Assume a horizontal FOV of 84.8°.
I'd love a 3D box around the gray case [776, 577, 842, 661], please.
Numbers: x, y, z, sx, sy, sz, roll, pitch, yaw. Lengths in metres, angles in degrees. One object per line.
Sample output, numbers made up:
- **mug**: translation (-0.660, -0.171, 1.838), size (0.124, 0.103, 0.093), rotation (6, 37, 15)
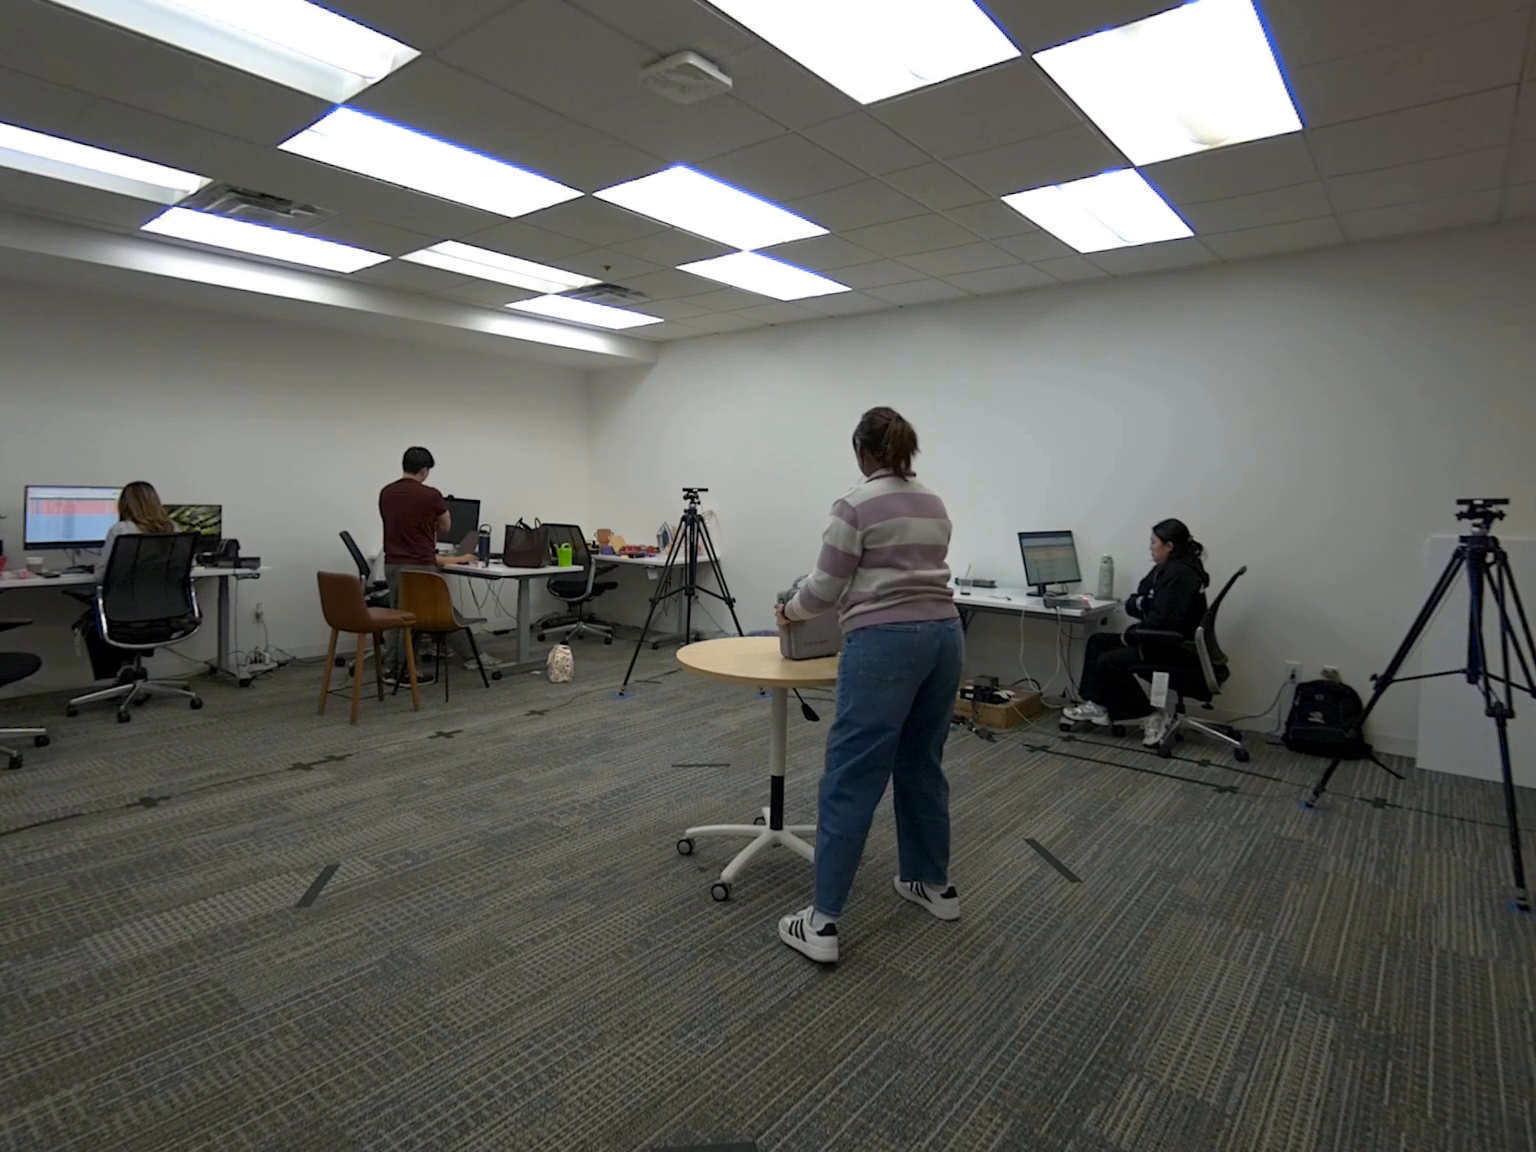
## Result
- **gray case**: translation (0.150, 0.160, 3.109), size (0.250, 0.260, 0.107), rotation (-4, 2, -30)
